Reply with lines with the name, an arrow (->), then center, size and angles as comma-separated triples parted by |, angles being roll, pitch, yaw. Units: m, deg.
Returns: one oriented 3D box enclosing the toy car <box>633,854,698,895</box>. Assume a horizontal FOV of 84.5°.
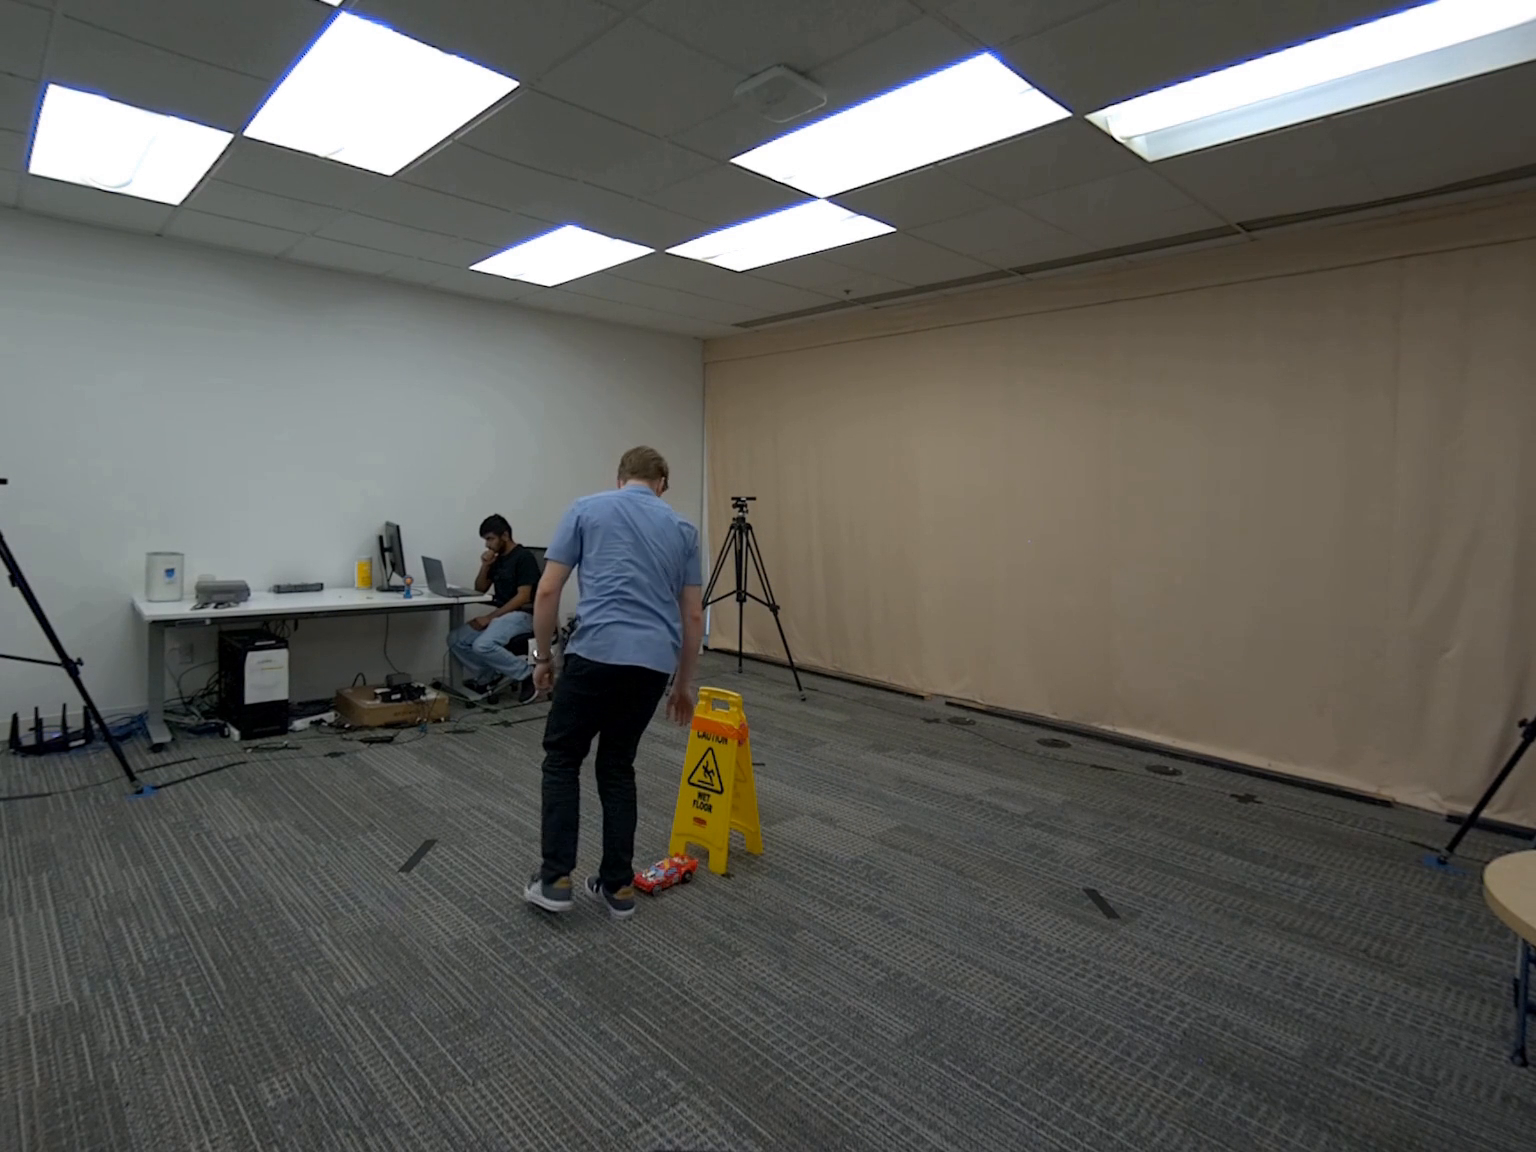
toy car -> -0.373, 1.077, 3.033 | 0.133, 0.082, 0.250 | 5, 17, 43
